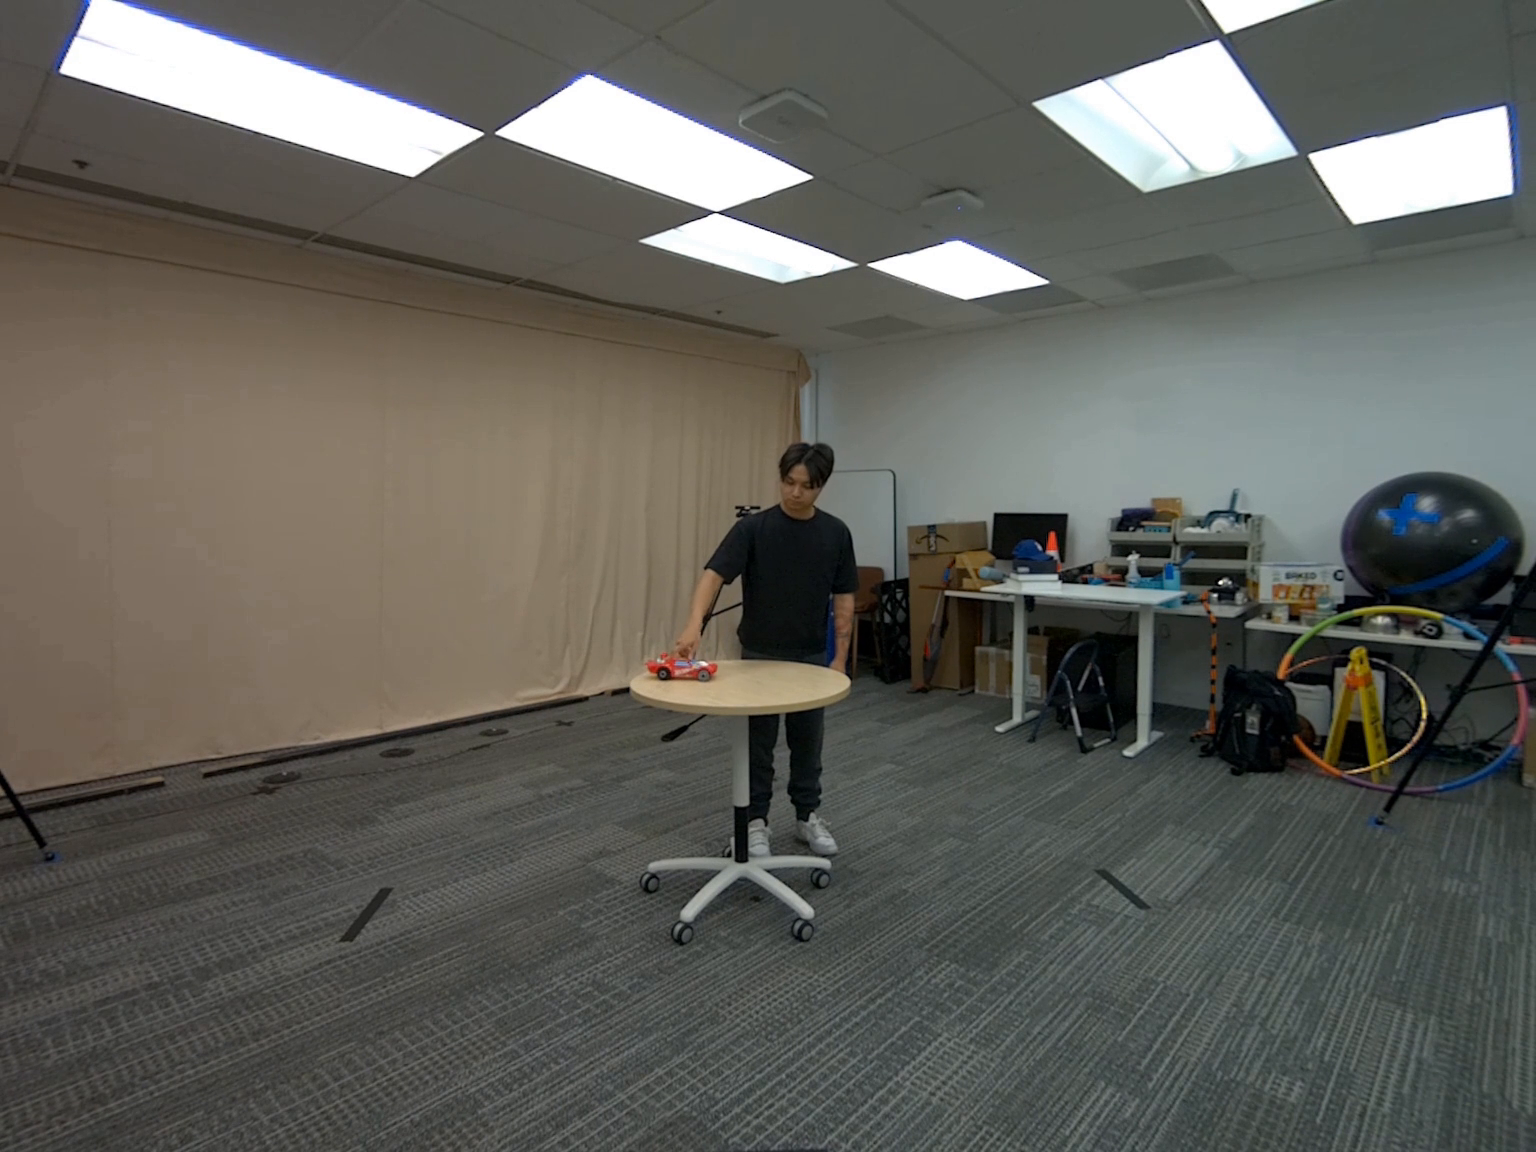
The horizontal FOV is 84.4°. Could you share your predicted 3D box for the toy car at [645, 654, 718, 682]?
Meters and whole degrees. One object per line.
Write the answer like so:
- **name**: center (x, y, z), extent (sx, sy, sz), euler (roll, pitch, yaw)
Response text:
- **toy car**: center (-0.310, 0.333, 2.992), extent (0.257, 0.083, 0.129), euler (11, 5, 7)
